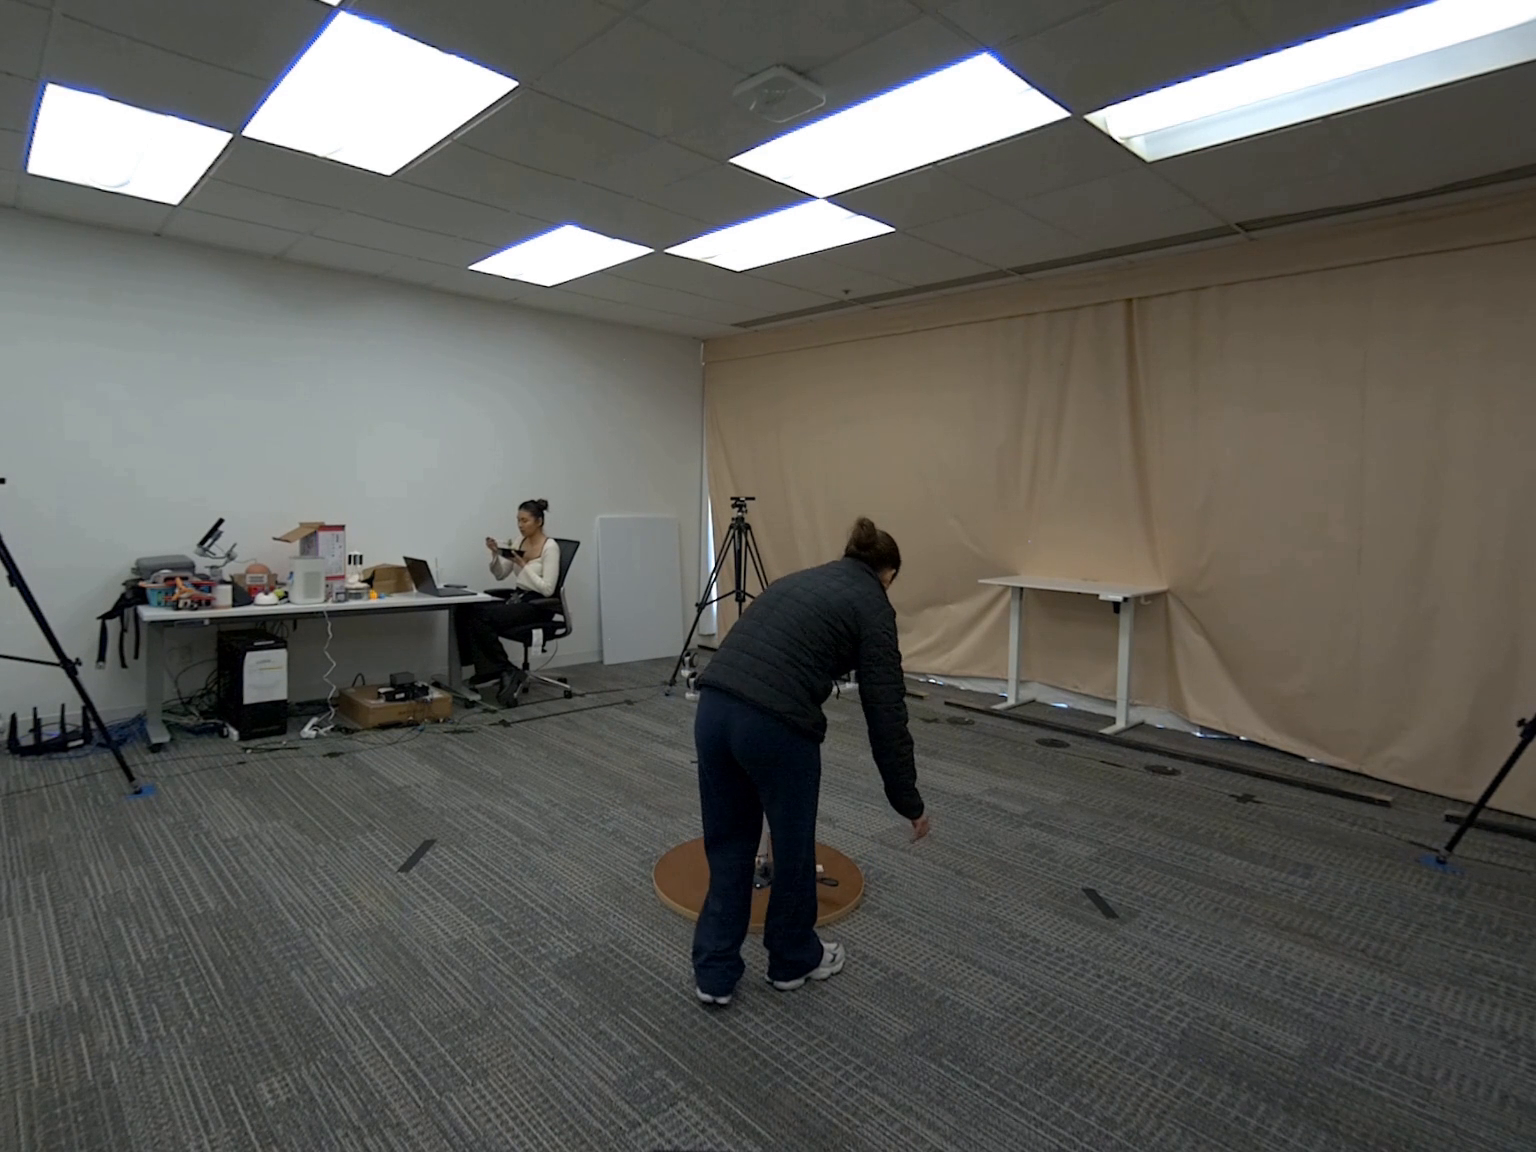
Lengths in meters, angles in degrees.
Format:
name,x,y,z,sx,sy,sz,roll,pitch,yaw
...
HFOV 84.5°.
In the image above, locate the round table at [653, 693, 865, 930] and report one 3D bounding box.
name,x,y,z,sx,sy,sz,roll,pitch,yaw
round table,-0.022,0.716,3.039,0.784,0.785,0.787,1,3,-1
